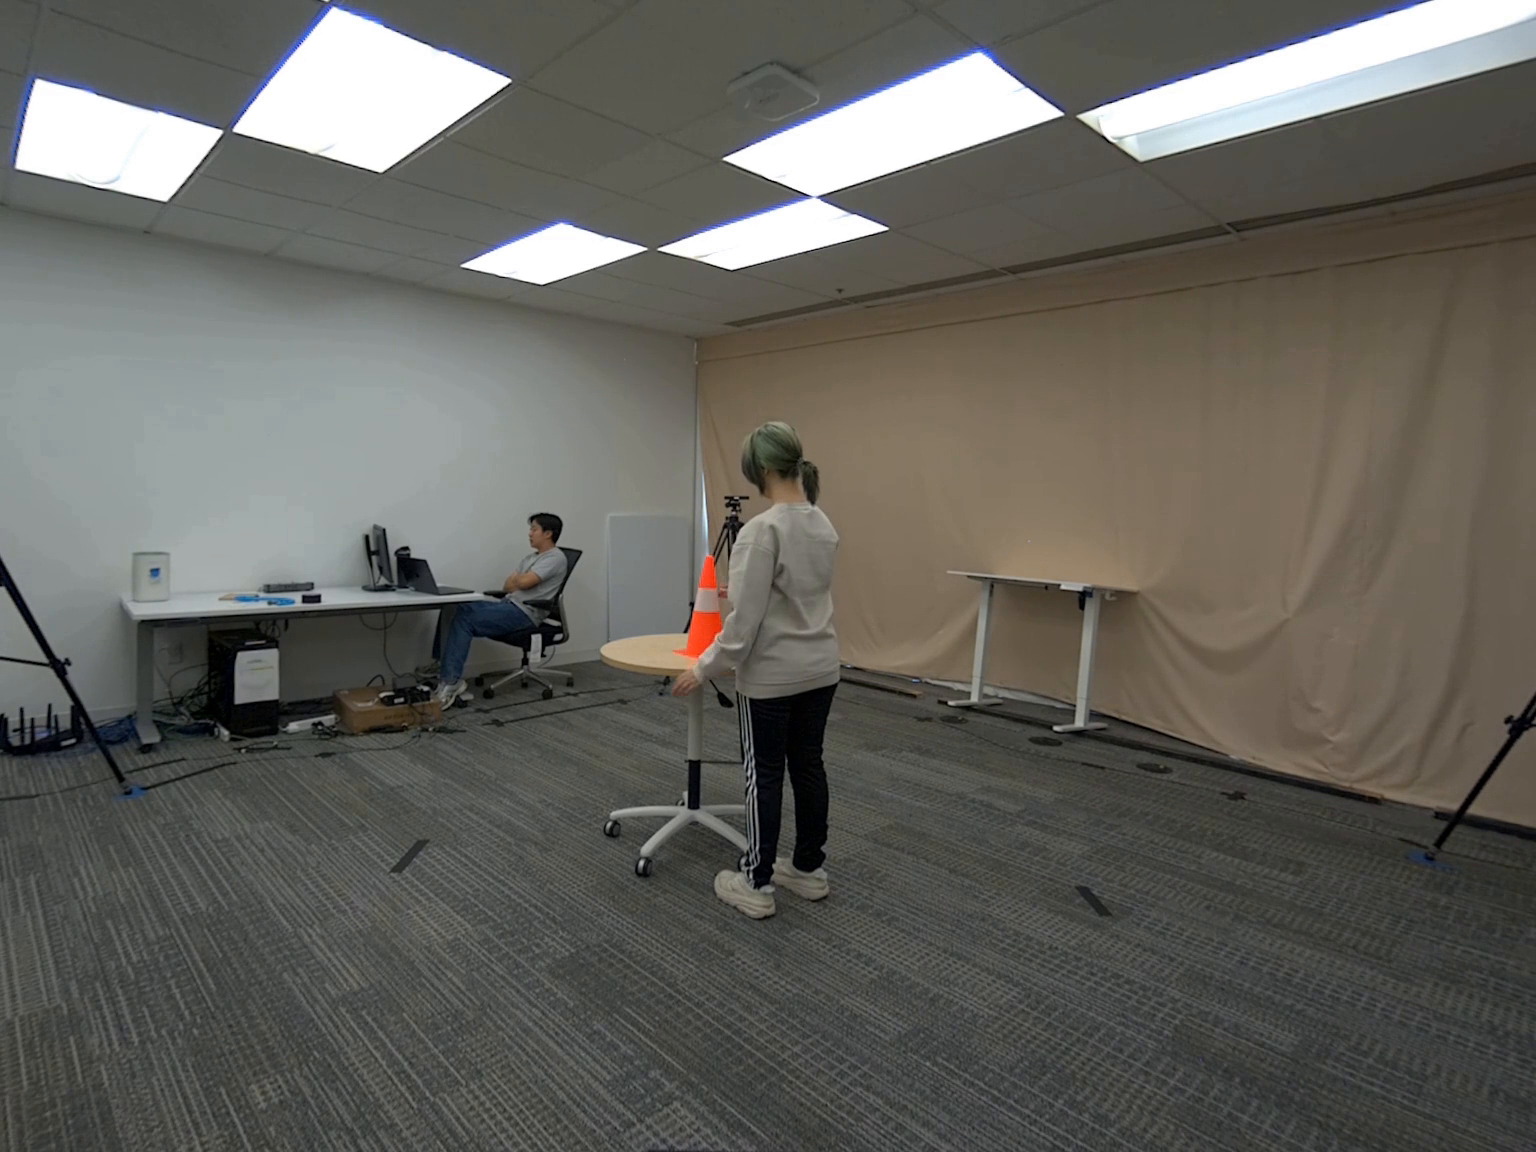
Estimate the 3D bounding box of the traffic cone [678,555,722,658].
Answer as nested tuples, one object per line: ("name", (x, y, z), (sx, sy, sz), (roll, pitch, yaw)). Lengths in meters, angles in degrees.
("traffic cone", (-0.239, 0.115, 3.280), (0.208, 0.383, 0.200), (4, 4, 40))
